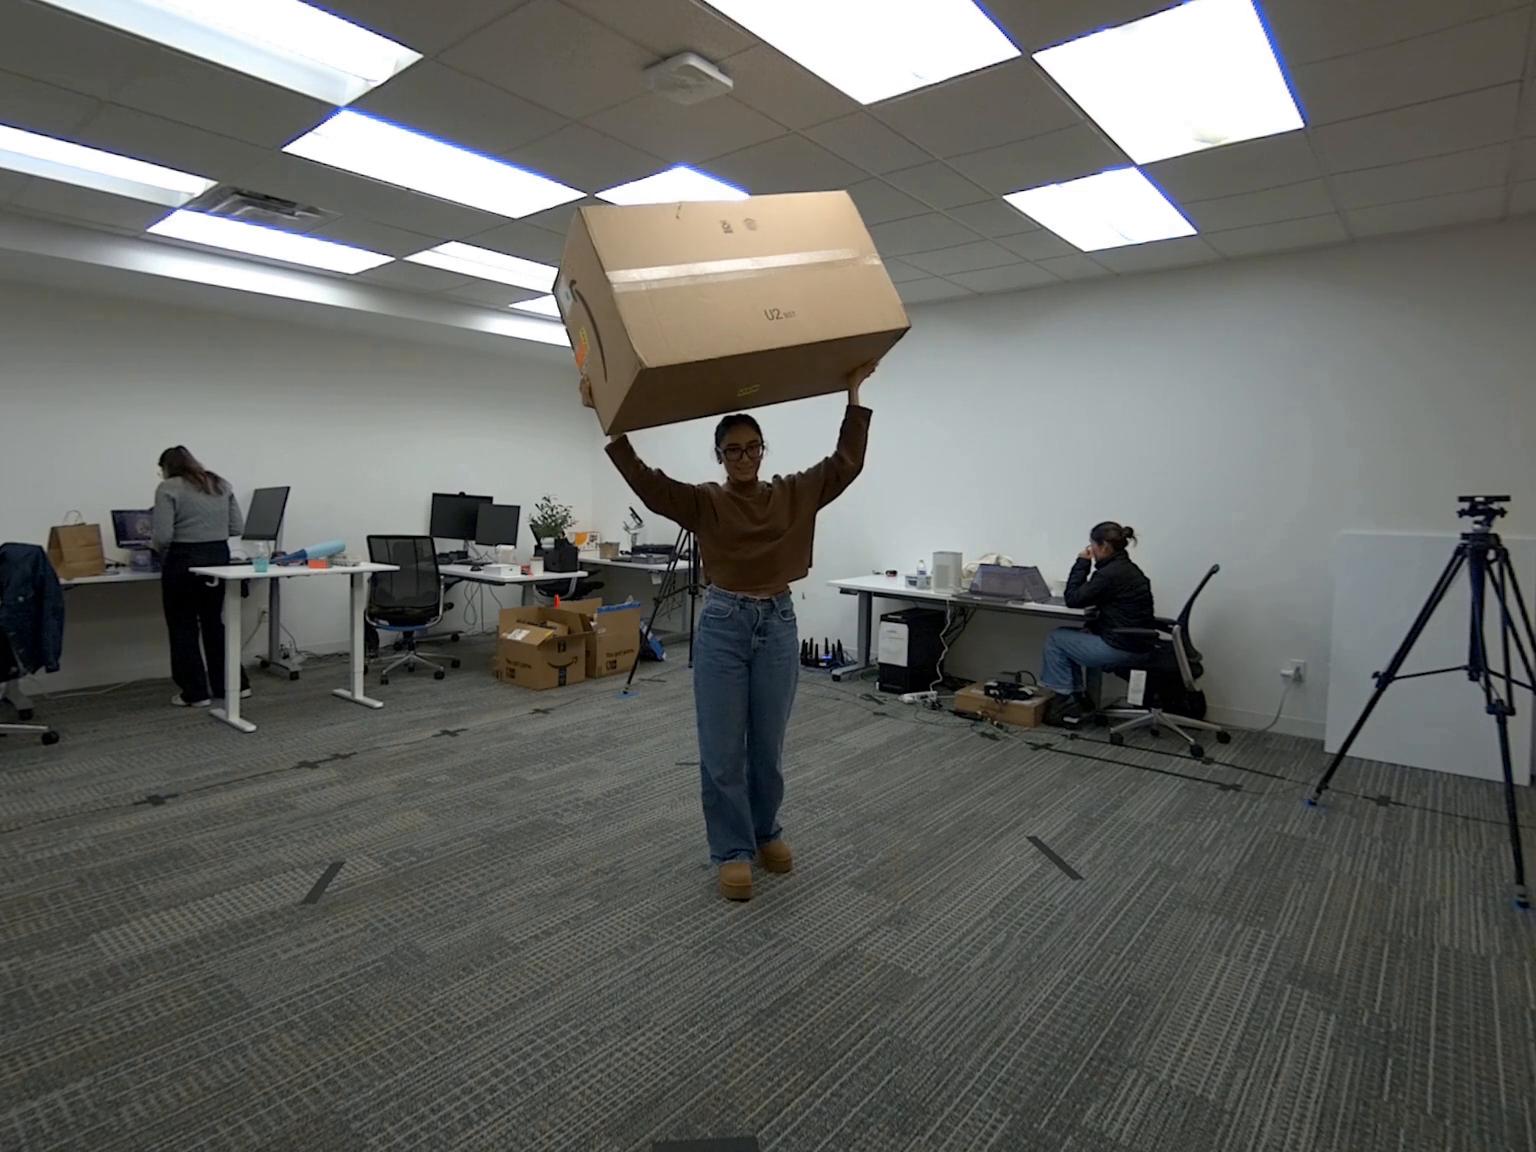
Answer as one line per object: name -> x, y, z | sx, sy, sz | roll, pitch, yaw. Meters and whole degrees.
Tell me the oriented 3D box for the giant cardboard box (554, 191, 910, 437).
giant cardboard box -> -0.142, -0.901, 2.885 | 1.007, 0.588, 0.427 | -17, -14, -28
